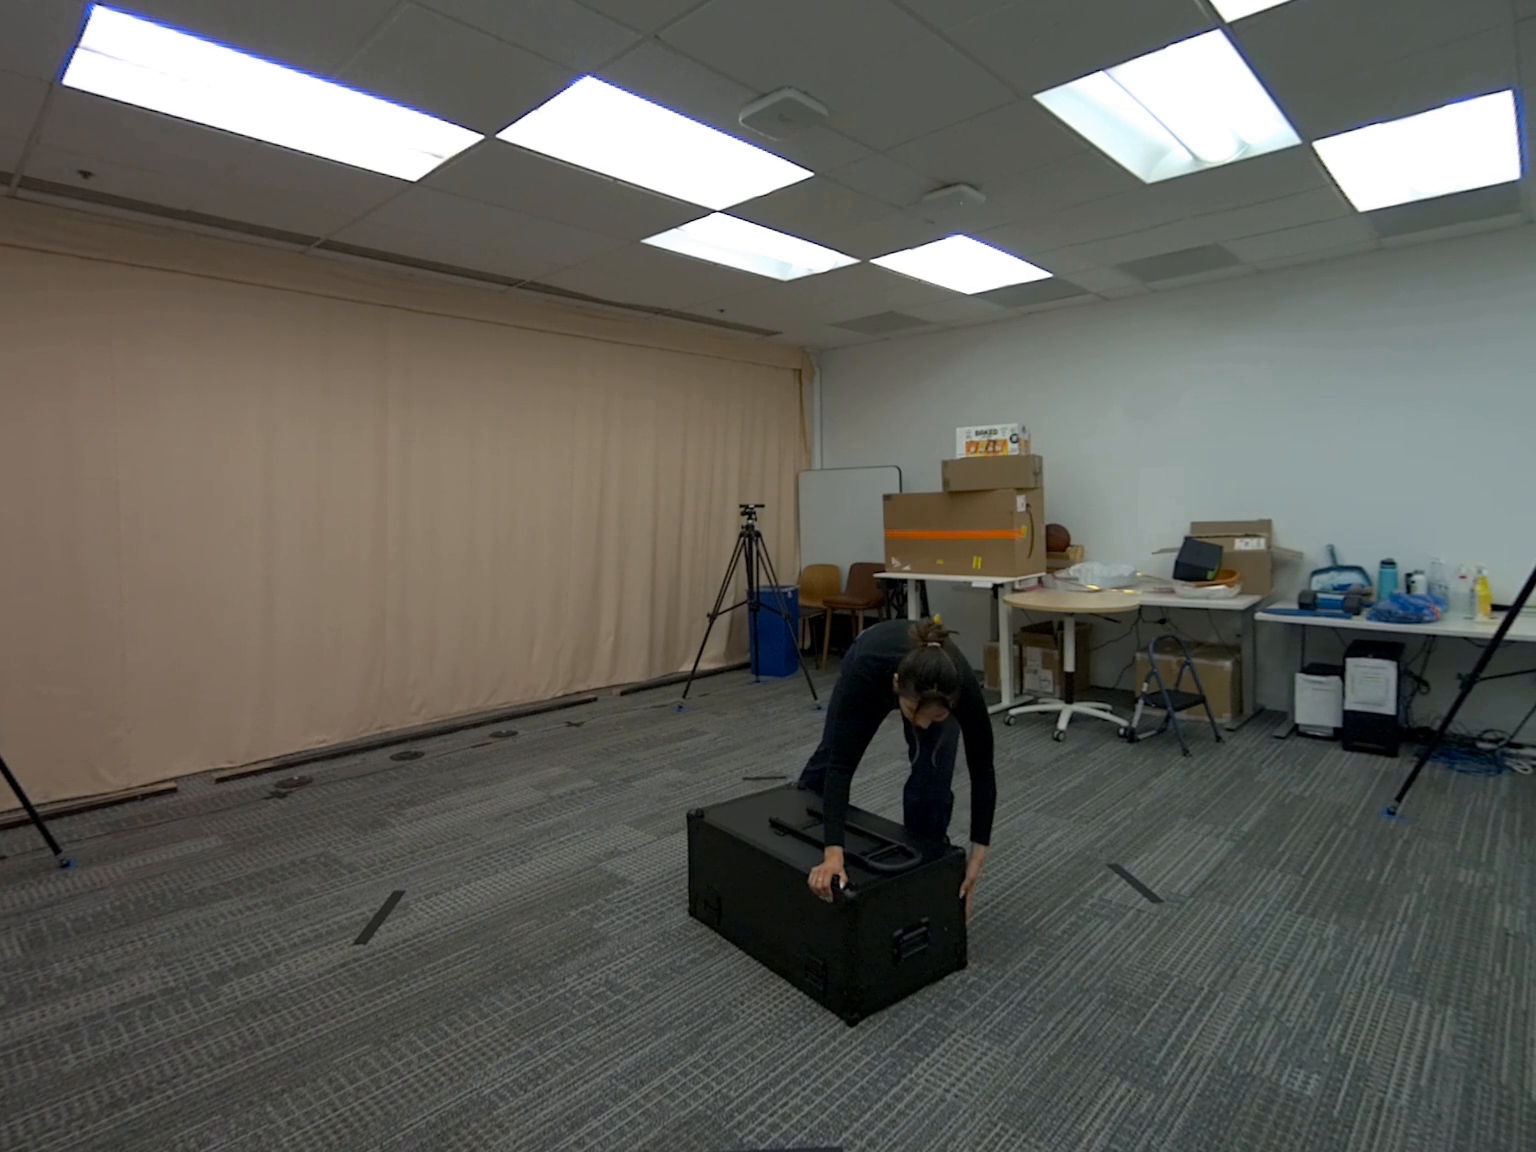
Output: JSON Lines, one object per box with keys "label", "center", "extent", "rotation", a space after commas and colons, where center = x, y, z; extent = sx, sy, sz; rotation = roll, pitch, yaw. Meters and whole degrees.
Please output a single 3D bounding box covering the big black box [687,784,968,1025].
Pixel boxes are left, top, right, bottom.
{"label": "big black box", "center": [0.177, 0.995, 2.654], "extent": [0.506, 0.395, 0.889], "rotation": [-3, 5, -38]}
